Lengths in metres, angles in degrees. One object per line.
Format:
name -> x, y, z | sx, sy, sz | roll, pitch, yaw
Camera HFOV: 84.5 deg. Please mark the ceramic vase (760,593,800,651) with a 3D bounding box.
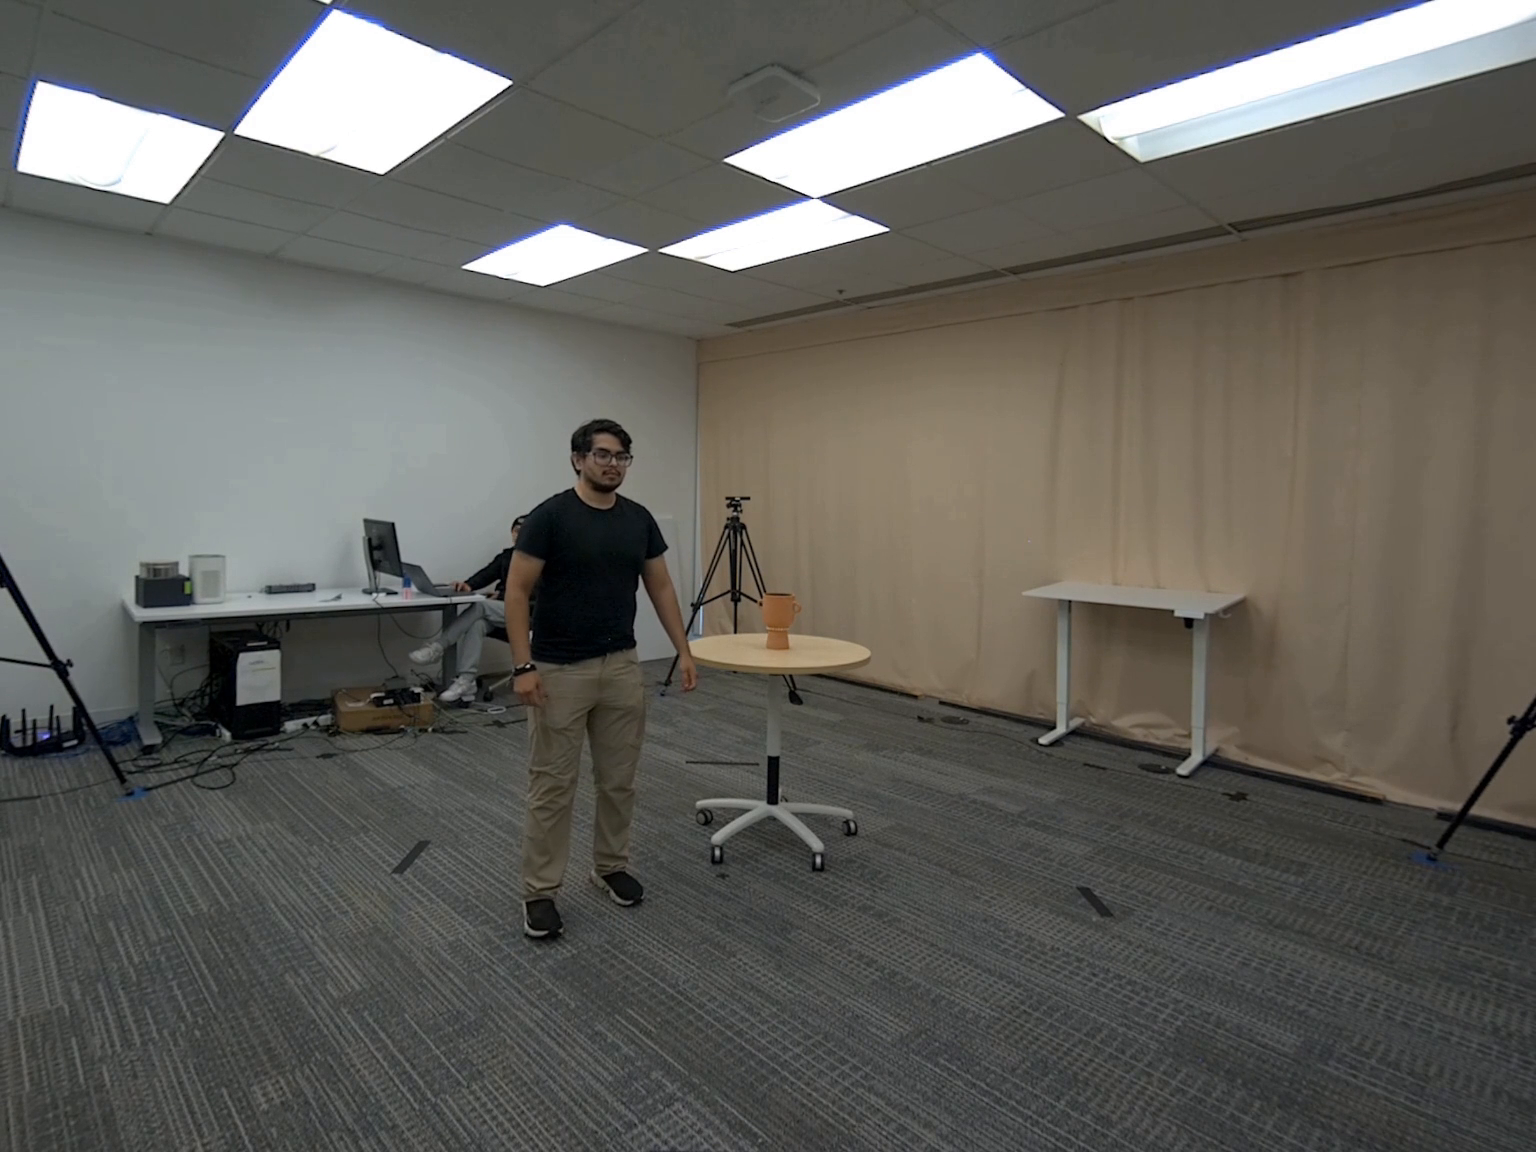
ceramic vase -> 0.037, 0.185, 3.461 | 0.132, 0.219, 0.162 | -1, 5, -25
